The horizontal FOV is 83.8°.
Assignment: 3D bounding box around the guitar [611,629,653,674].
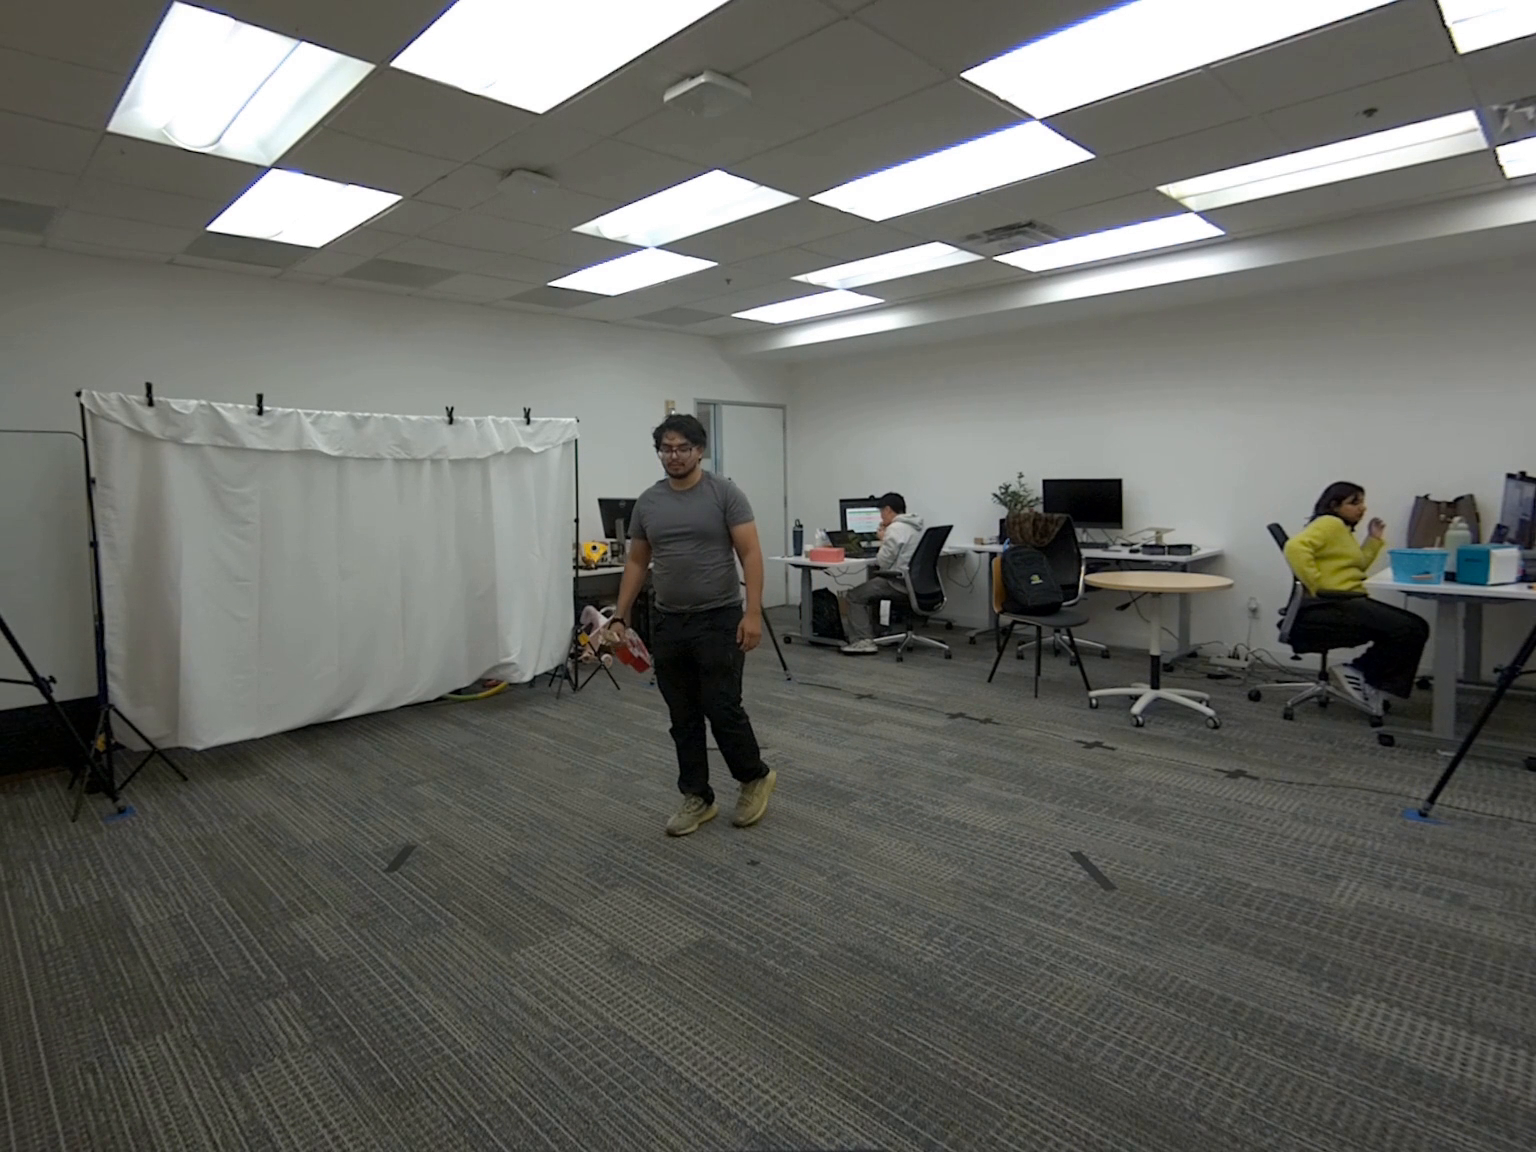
[{"bbox_3d":[-0.607,0.257,3.512,0.071,0.199,0.482,-31,-26,4],"label":"guitar"}]
